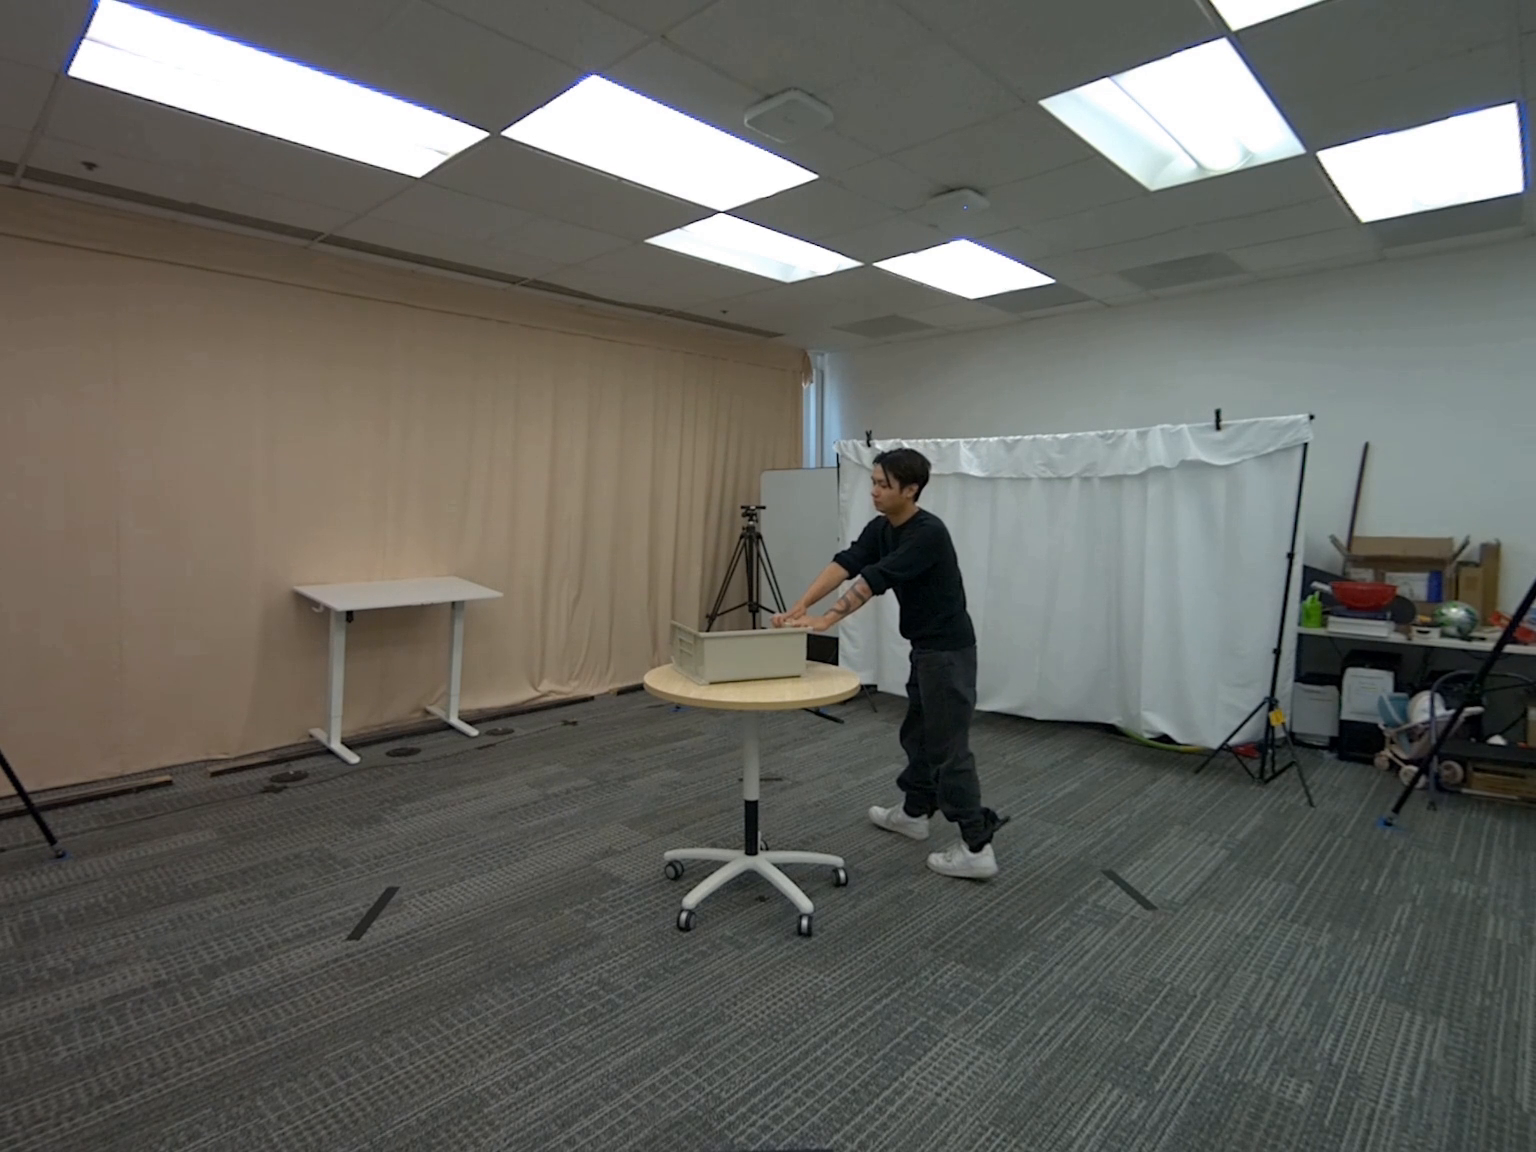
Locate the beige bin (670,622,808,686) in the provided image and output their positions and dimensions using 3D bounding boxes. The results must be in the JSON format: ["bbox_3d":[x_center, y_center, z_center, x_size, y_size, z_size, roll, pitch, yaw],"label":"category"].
[{"bbox_3d":[-0.110,0.262,3.075,0.413,0.188,0.387,-1,6,-22],"label":"beige bin"}]
